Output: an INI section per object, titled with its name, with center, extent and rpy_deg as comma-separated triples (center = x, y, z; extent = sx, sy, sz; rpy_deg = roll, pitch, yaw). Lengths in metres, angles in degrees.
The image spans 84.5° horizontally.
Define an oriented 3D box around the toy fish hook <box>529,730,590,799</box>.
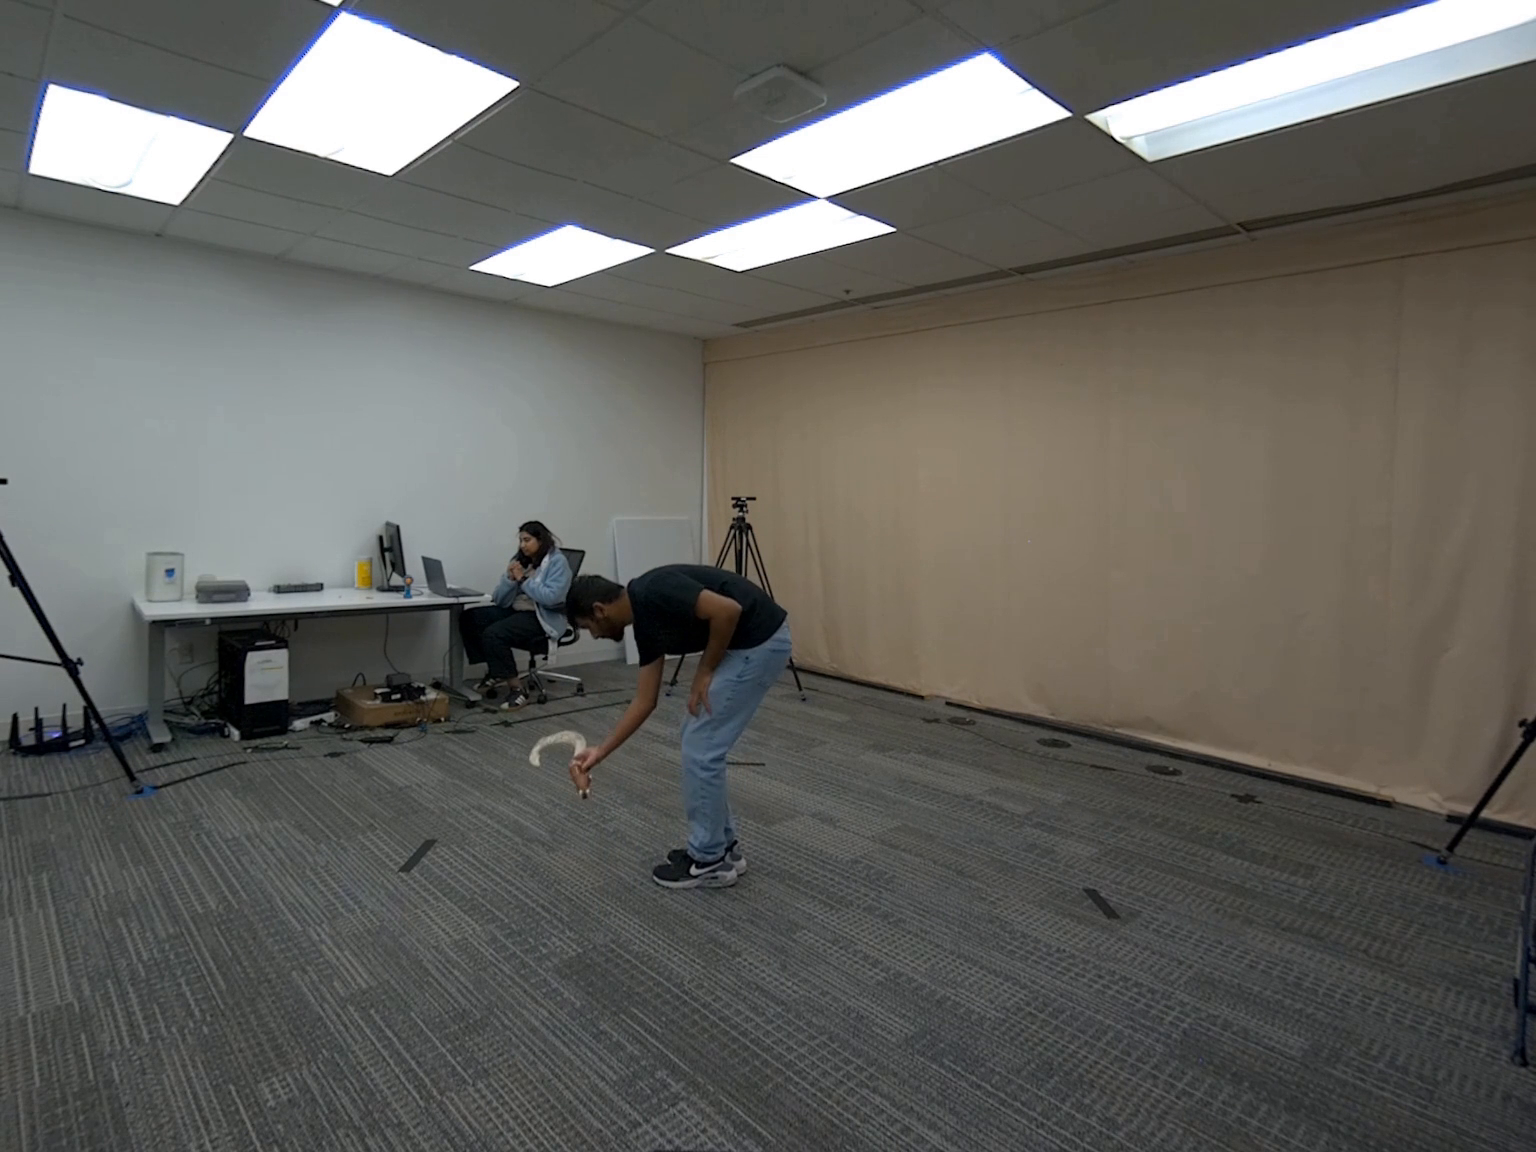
[toy fish hook]
center = -0.790, 0.728, 3.199
extent = 0.223, 0.047, 0.519
rpy_deg = -18, 21, -15
